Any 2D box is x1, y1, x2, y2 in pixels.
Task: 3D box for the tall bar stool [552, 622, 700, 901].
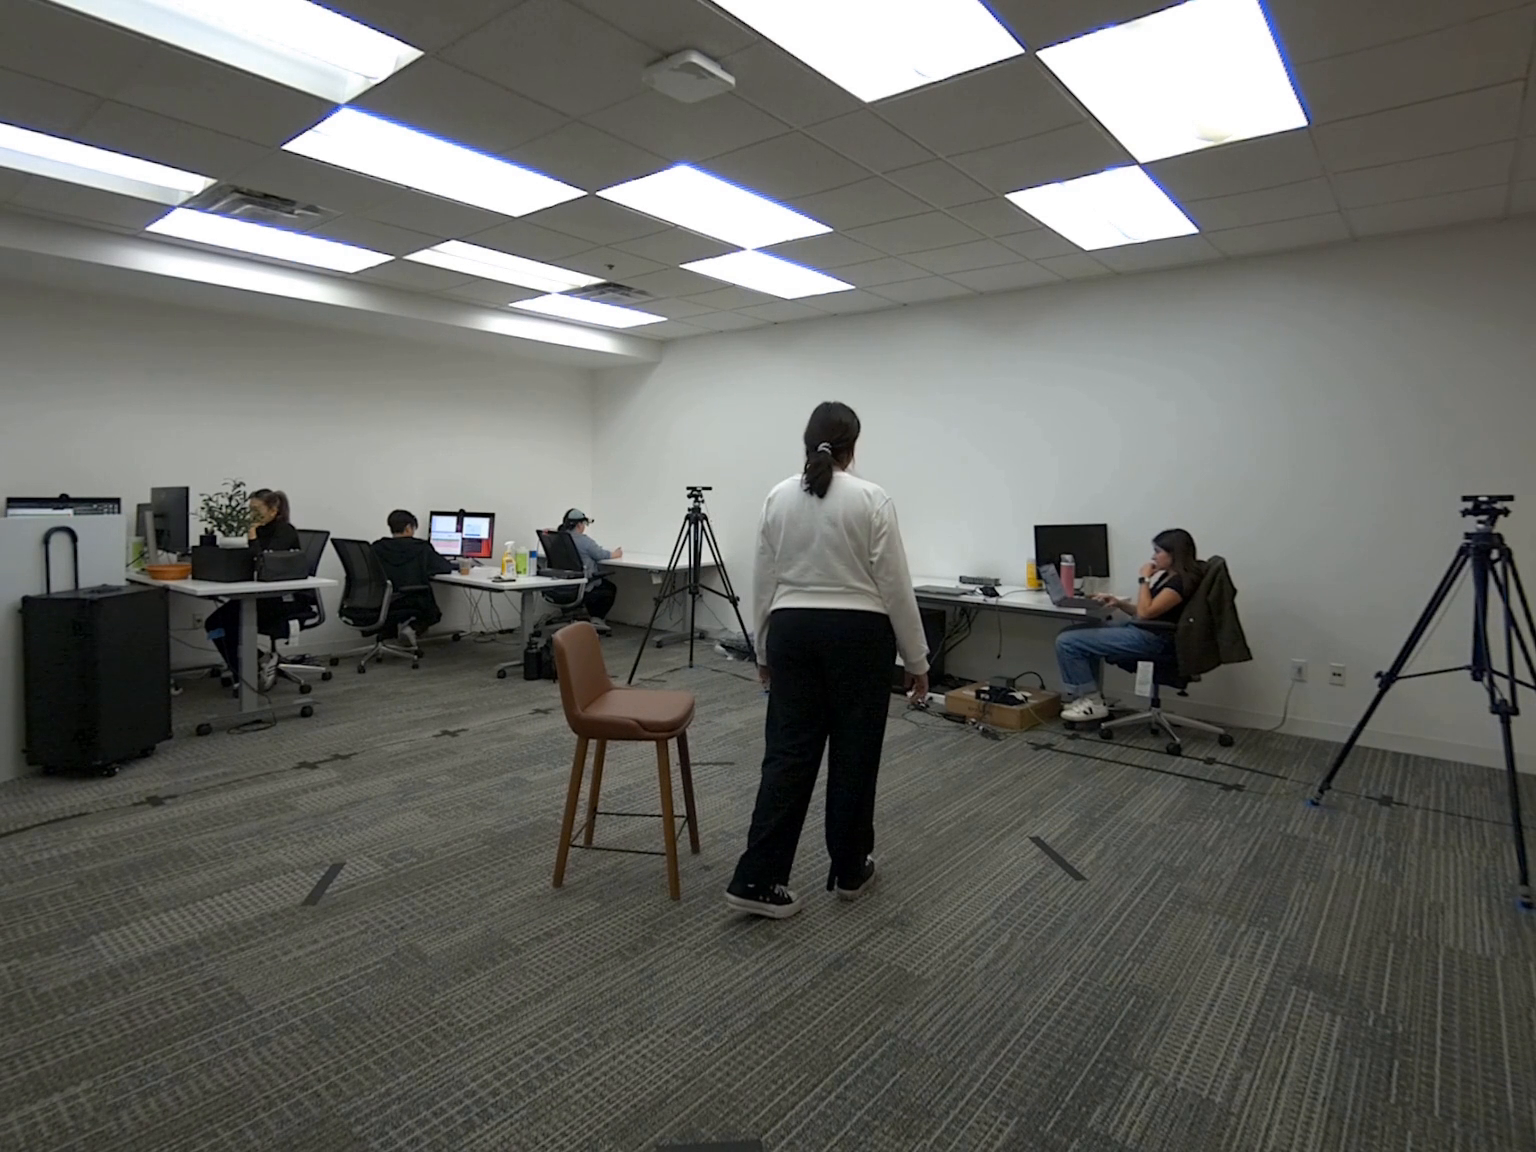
[{"bbox_3d":[-0.503,0.630,3.068,0.472,0.887,0.453,0,3,9],"label":"tall bar stool"}]
